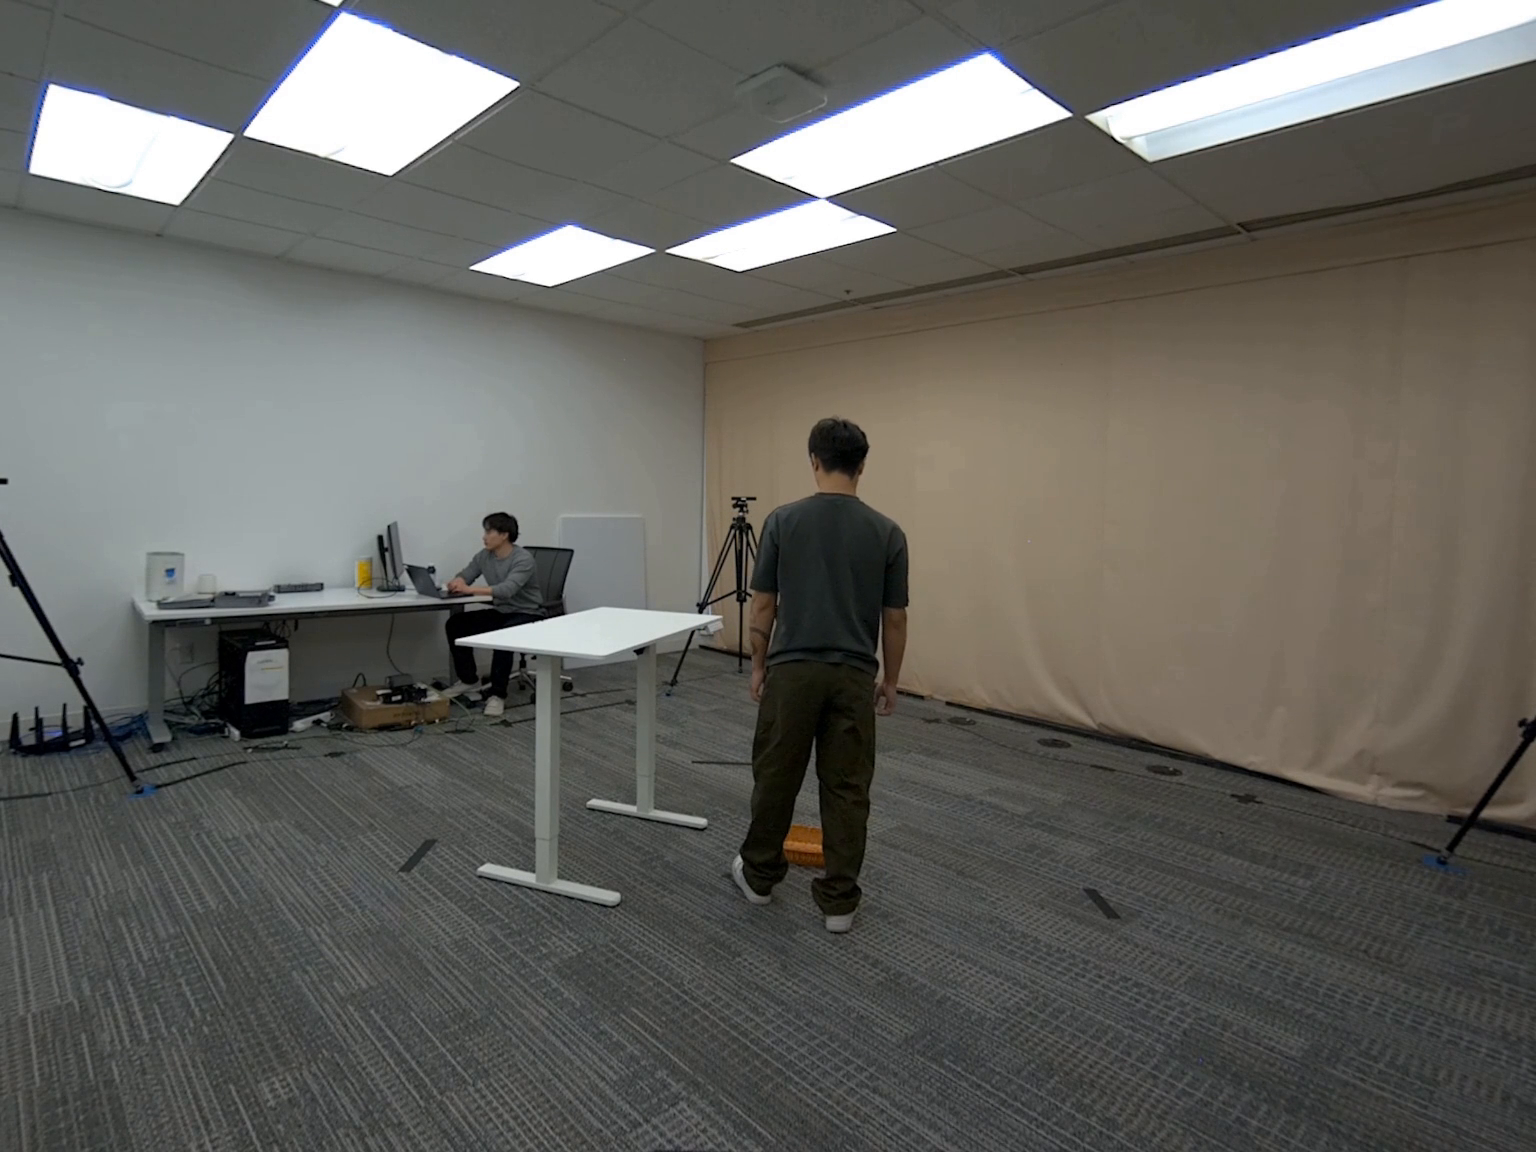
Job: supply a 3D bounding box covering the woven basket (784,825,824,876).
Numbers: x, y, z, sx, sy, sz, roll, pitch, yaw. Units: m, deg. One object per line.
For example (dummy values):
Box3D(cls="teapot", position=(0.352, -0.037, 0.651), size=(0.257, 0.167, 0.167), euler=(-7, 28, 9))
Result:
Box3D(cls="woven basket", position=(0.132, 1.060, 3.302), size=(0.356, 0.073, 0.249), euler=(3, 5, 19))
